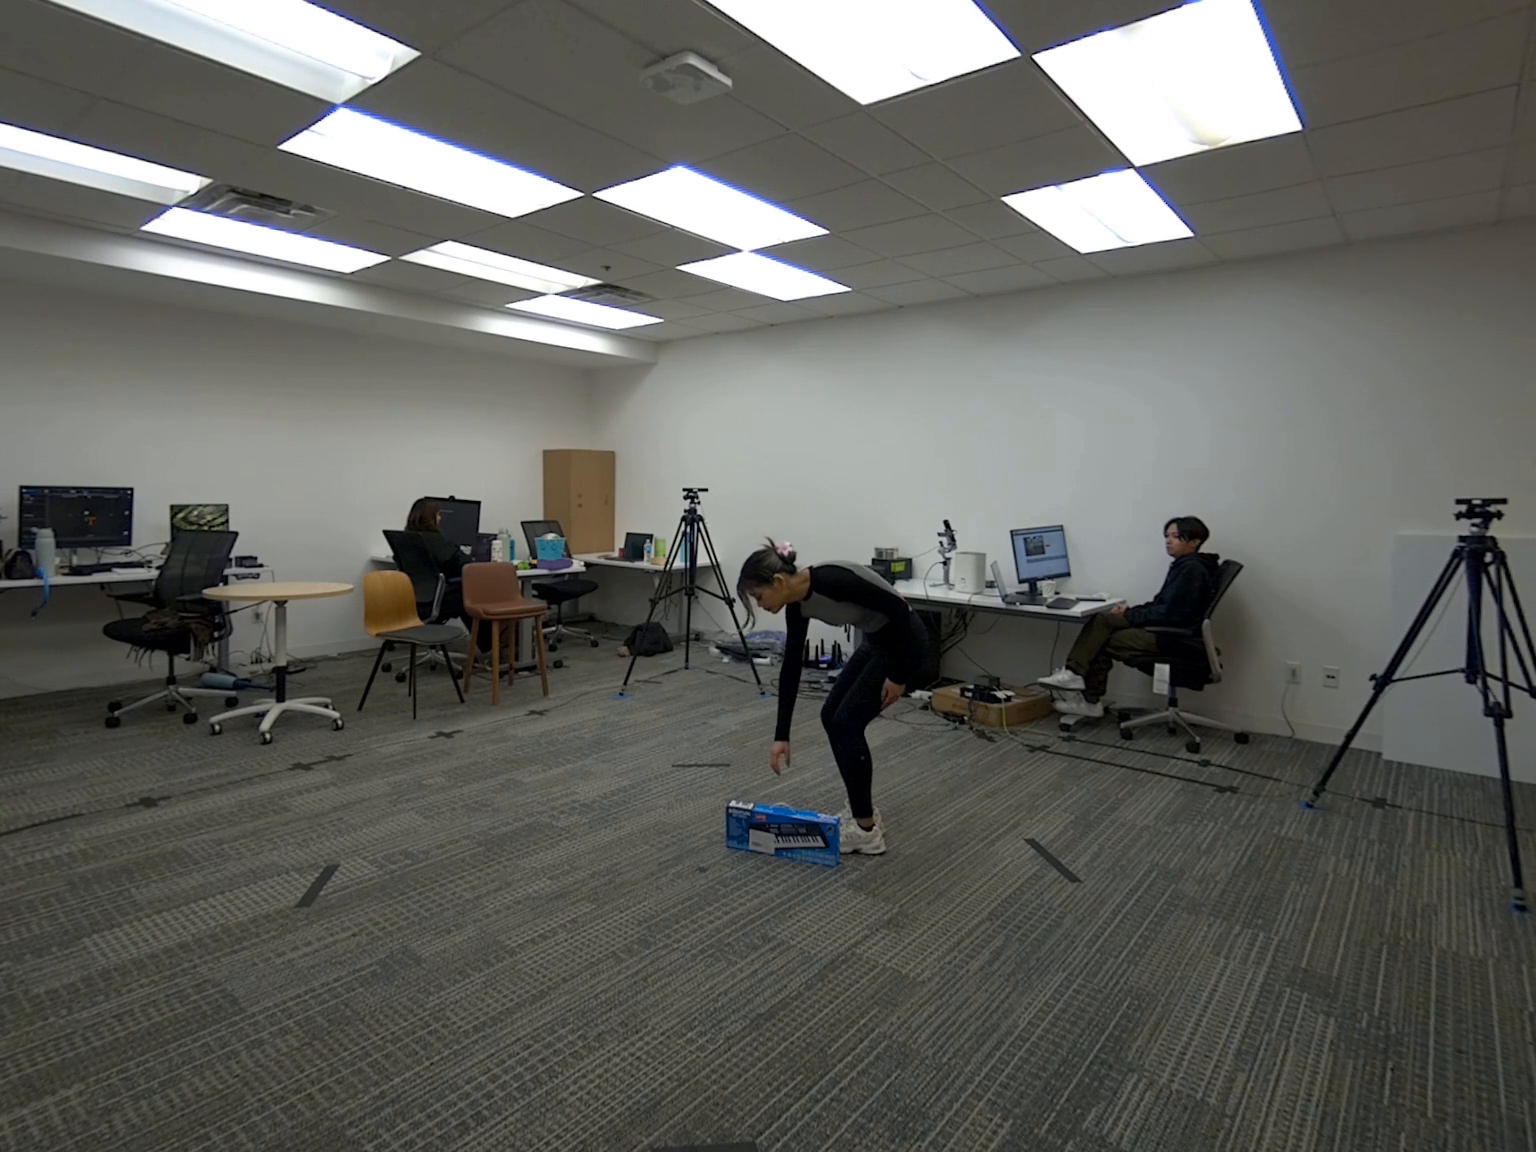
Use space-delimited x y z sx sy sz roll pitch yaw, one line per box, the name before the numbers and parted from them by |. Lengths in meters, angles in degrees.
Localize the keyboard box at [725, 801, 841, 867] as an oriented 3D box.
keyboard box | 0.047 0.974 3.241 0.446 0.174 0.058 4 10 20
